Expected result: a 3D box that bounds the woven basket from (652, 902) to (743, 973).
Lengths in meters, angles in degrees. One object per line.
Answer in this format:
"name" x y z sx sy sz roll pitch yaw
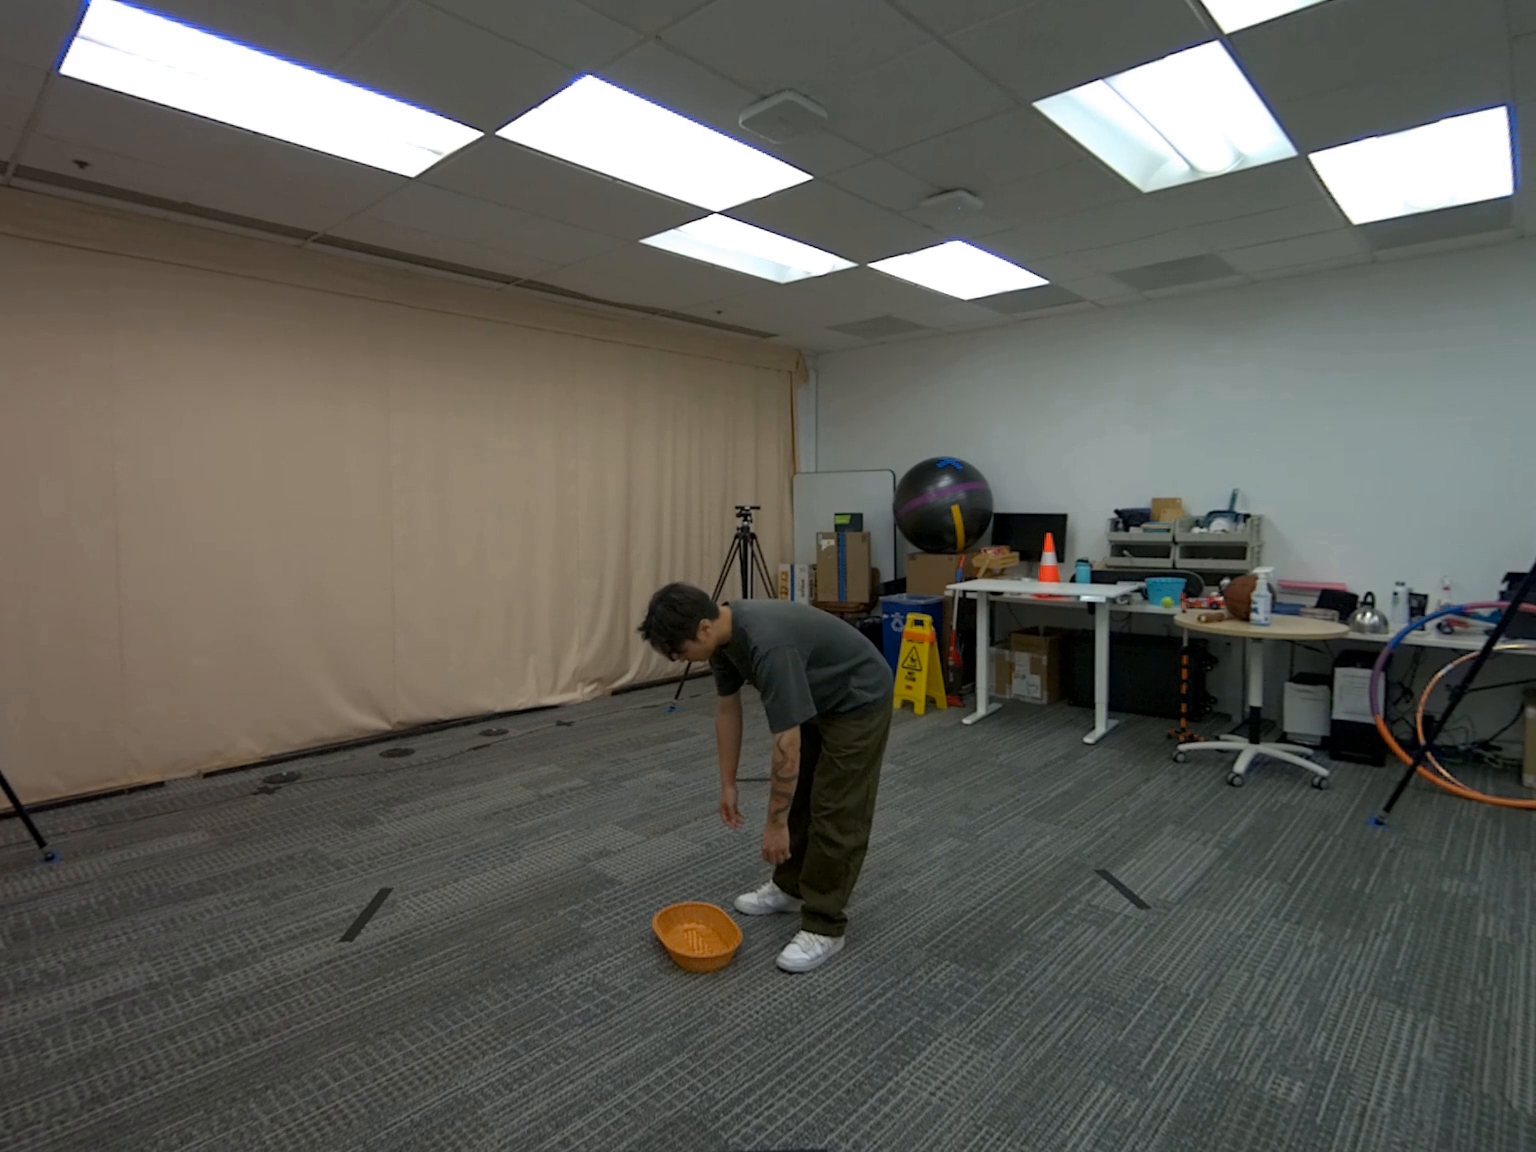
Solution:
"woven basket" -0.229 1.138 2.650 0.246 0.073 0.360 -3 5 -26
